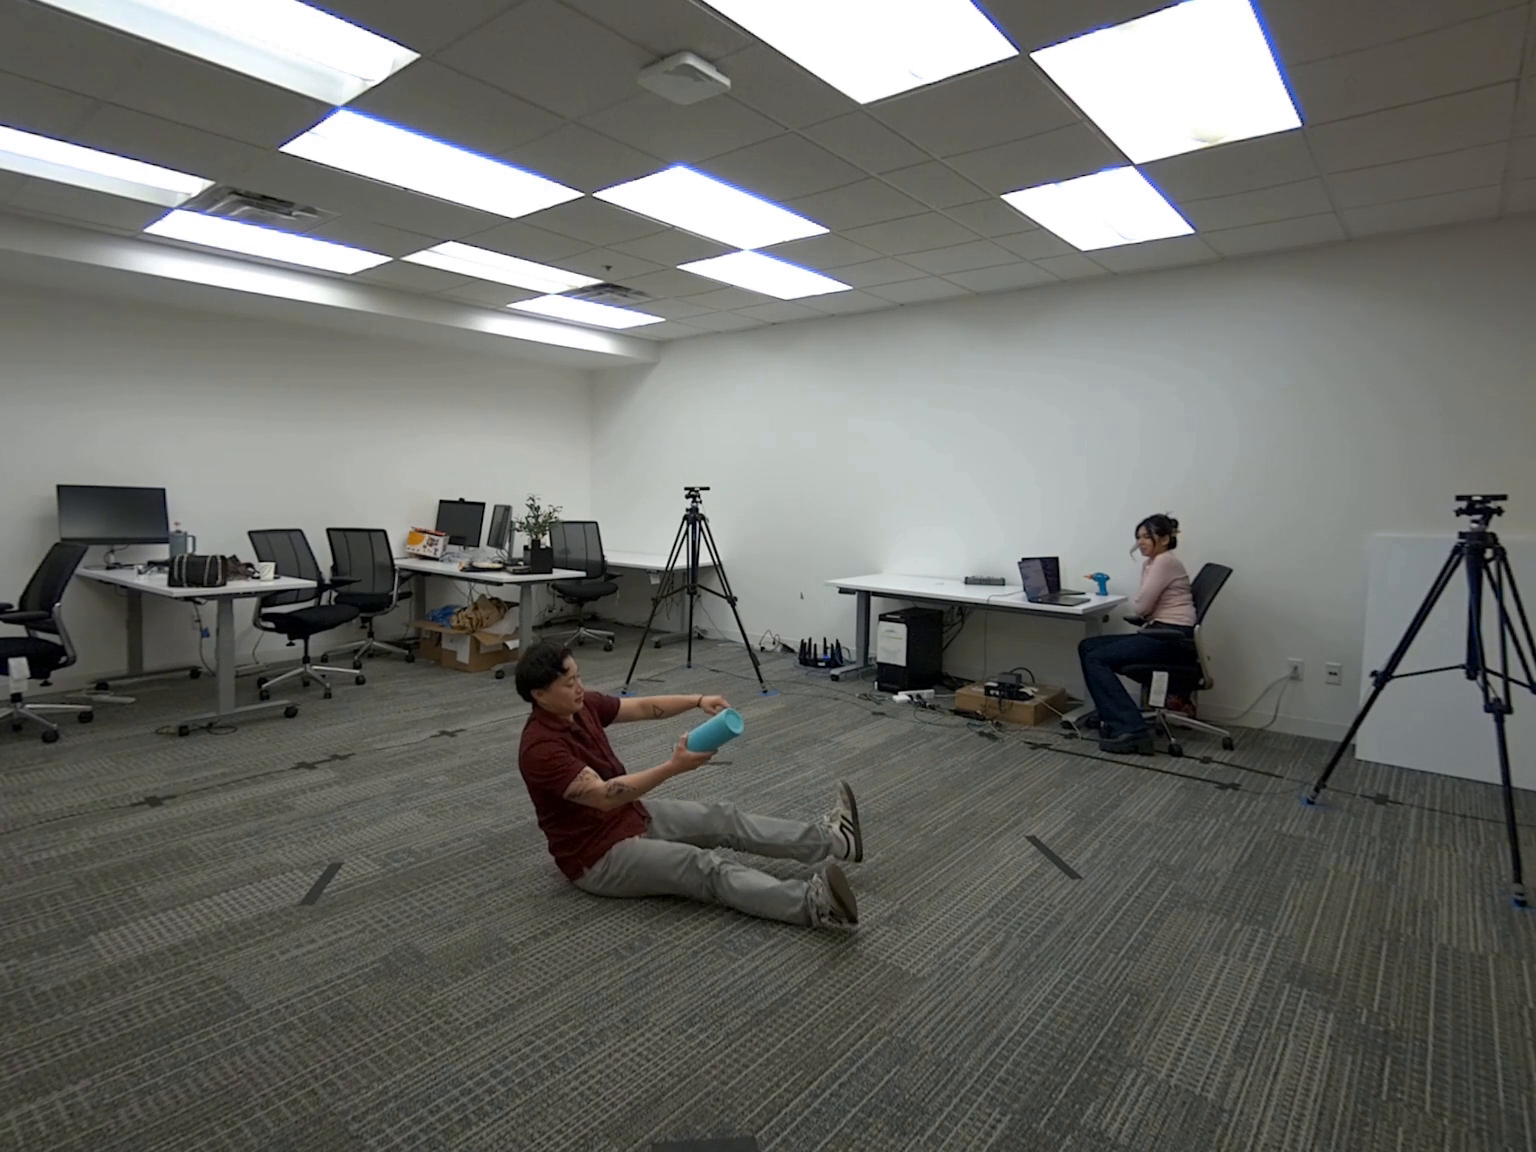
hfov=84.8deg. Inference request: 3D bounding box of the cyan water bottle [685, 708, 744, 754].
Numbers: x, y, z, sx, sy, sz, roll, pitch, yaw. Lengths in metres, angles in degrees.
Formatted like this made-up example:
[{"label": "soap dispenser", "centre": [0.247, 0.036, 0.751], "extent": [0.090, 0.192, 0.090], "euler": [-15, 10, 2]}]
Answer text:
[{"label": "cyan water bottle", "centre": [-0.211, 0.525, 2.722], "extent": [0.285, 0.094, 0.090], "euler": [-38, -19, 32]}]
